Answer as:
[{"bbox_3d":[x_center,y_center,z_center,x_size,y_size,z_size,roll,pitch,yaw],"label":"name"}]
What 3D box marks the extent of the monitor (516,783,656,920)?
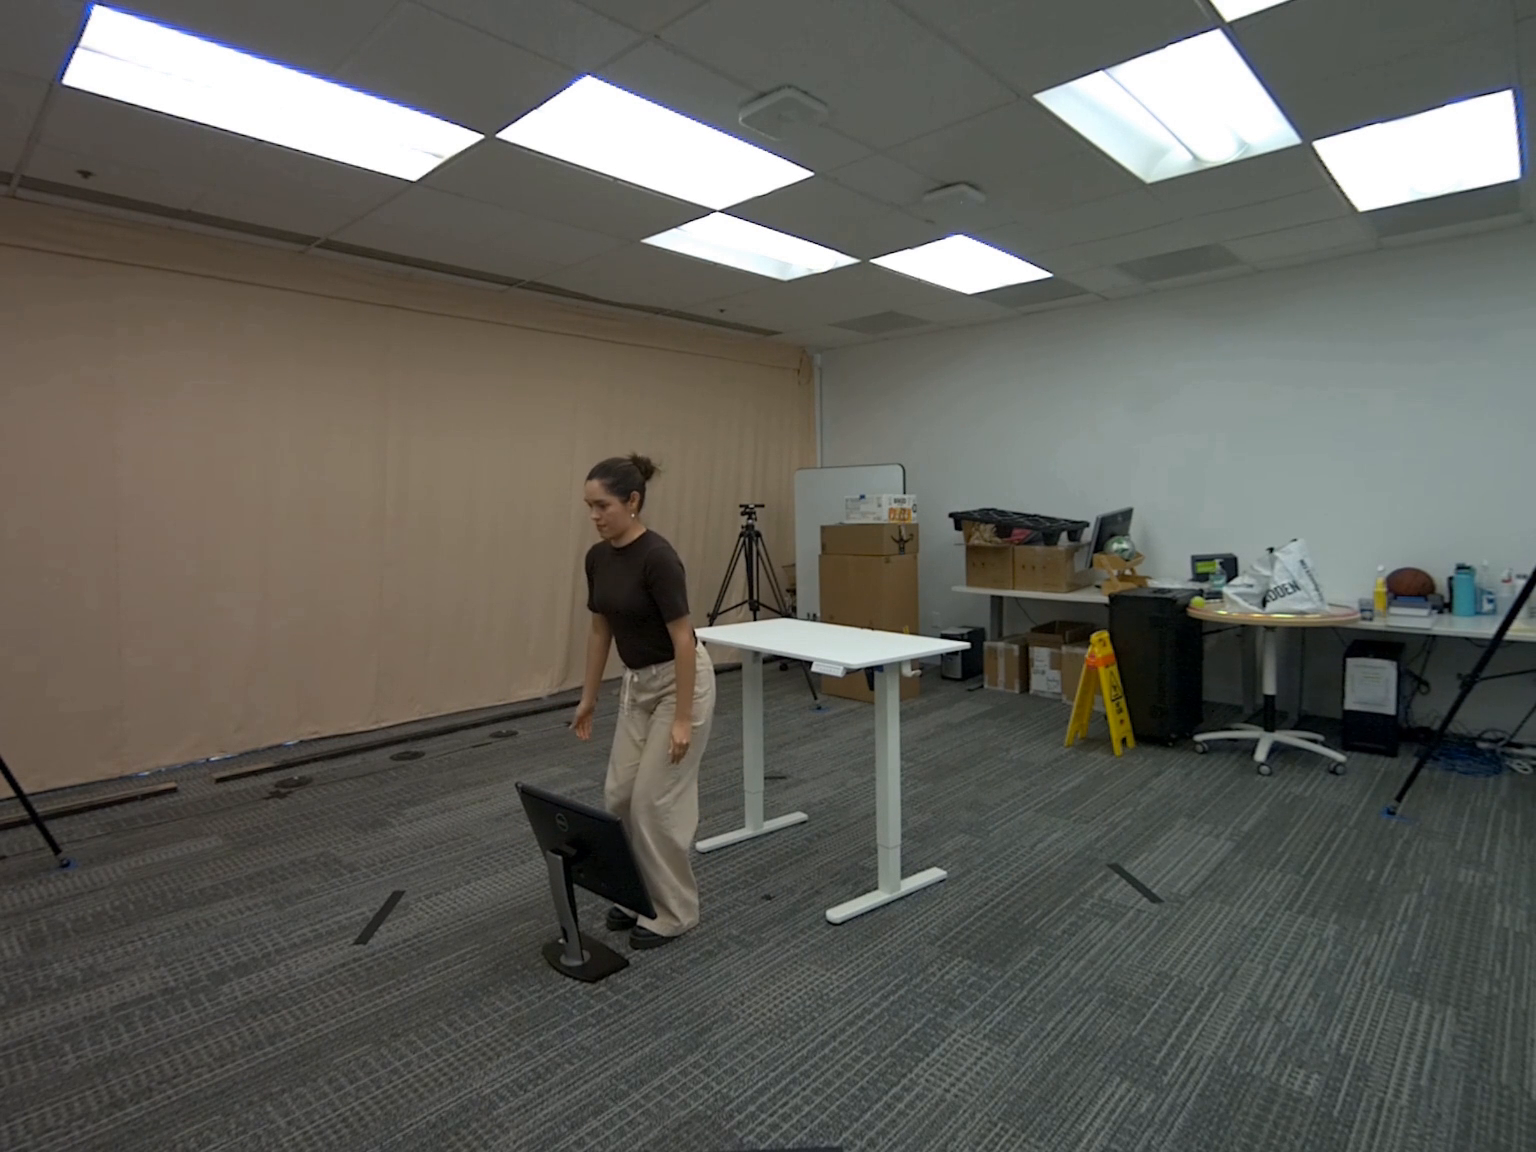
[{"bbox_3d":[-0.594,0.937,2.576,0.557,0.520,0.182,1,9,43],"label":"monitor"}]
